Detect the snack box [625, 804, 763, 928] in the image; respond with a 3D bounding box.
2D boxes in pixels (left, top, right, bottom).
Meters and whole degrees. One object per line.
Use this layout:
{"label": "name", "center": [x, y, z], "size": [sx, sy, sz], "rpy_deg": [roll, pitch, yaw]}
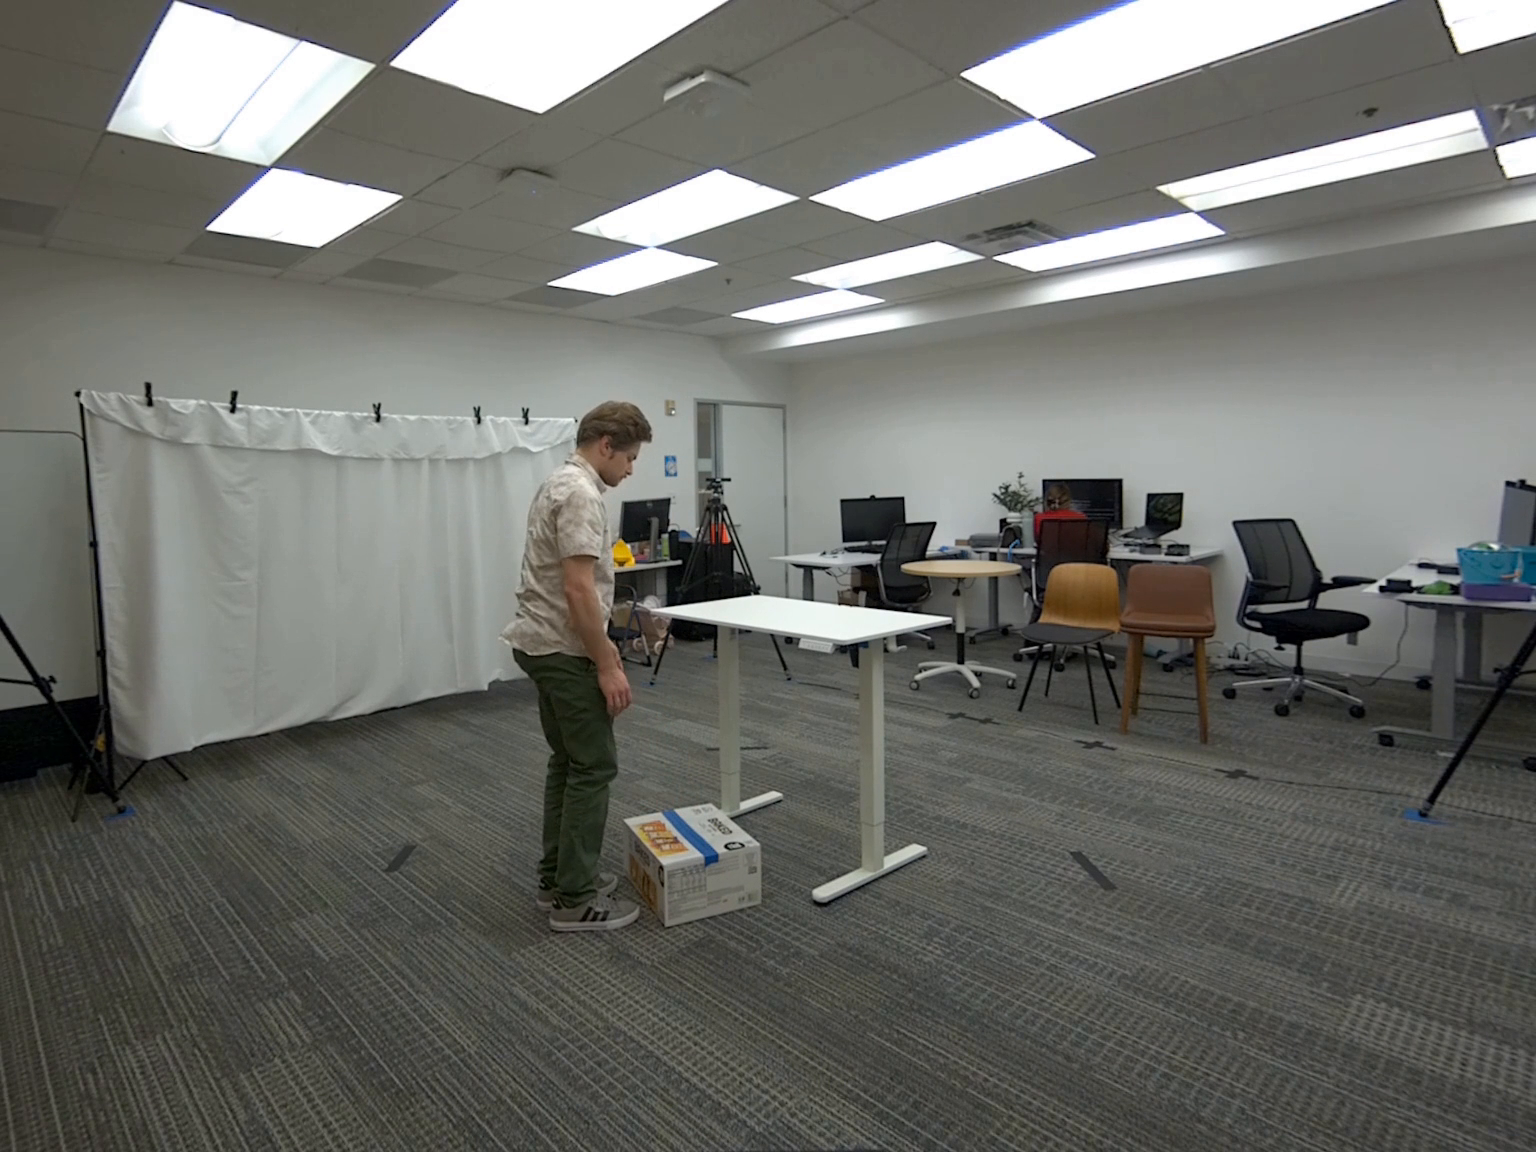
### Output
{"label": "snack box", "center": [-0.263, 0.968, 2.901], "size": [0.333, 0.205, 0.416], "rpy_deg": [-4, 7, -26]}
